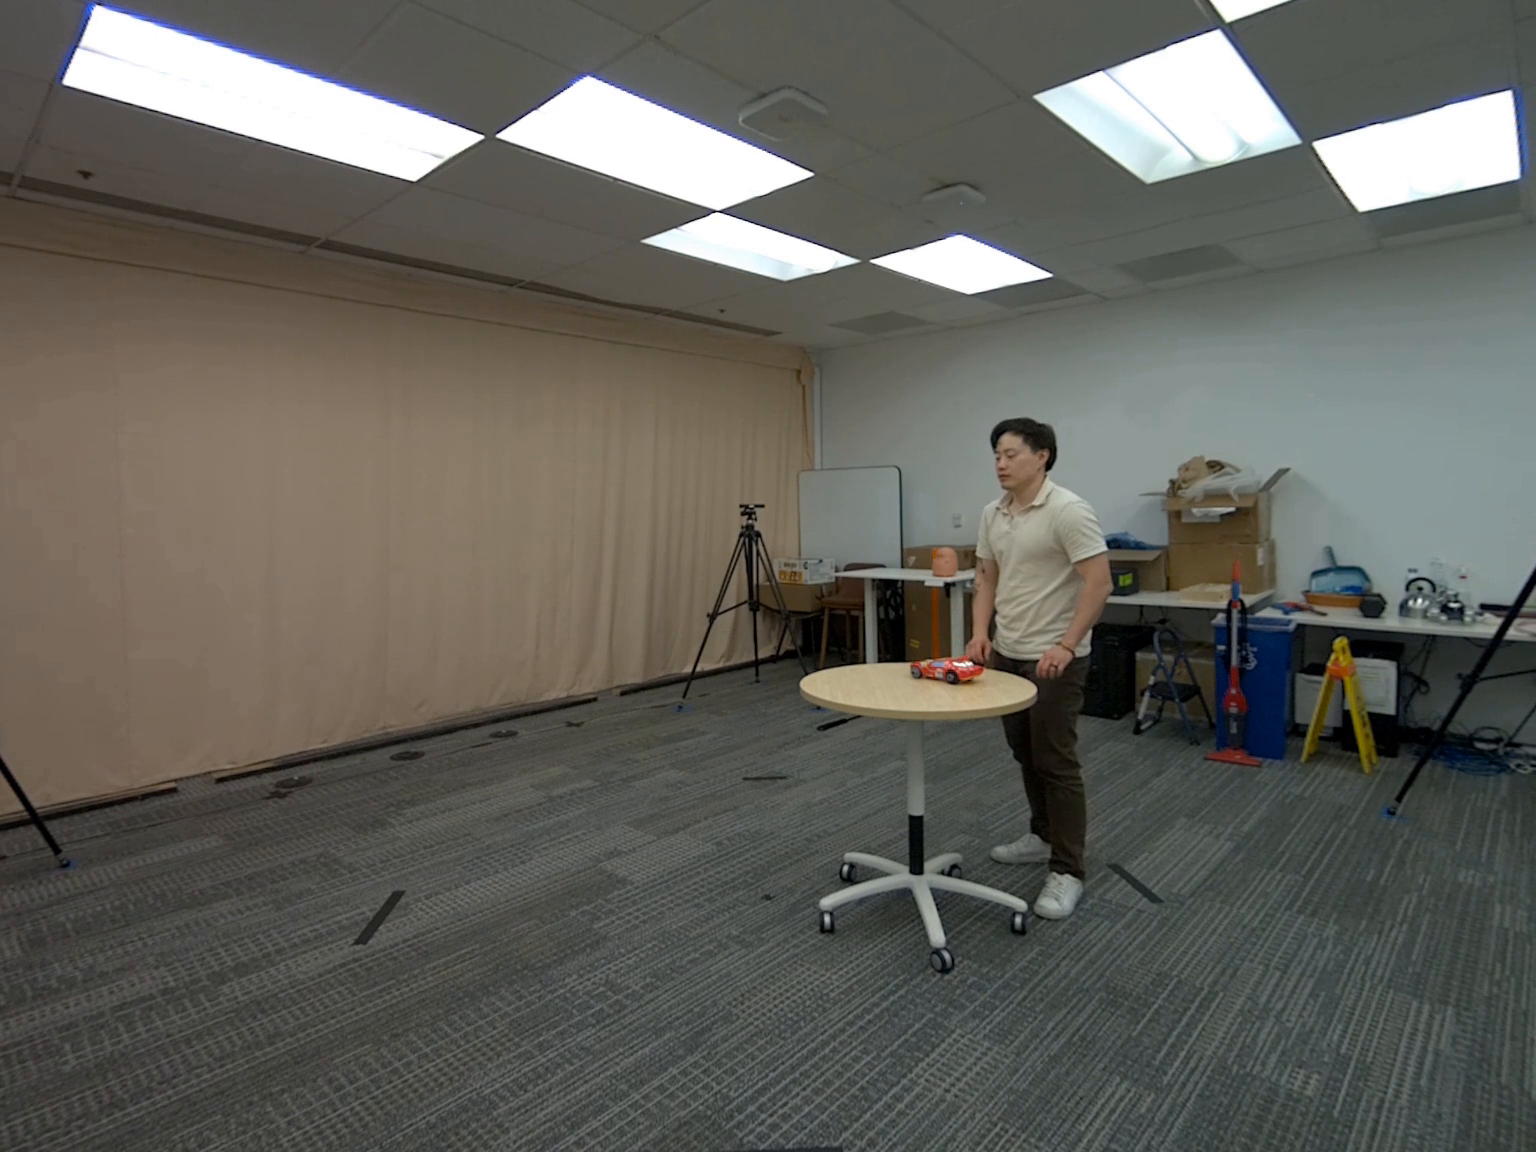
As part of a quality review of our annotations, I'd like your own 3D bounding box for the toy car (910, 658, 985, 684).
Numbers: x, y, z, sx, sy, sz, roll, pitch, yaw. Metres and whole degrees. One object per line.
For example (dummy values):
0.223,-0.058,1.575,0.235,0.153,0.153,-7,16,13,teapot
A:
0.619,0.326,2.856,0.126,0.083,0.261,-5,-4,-41,toy car
